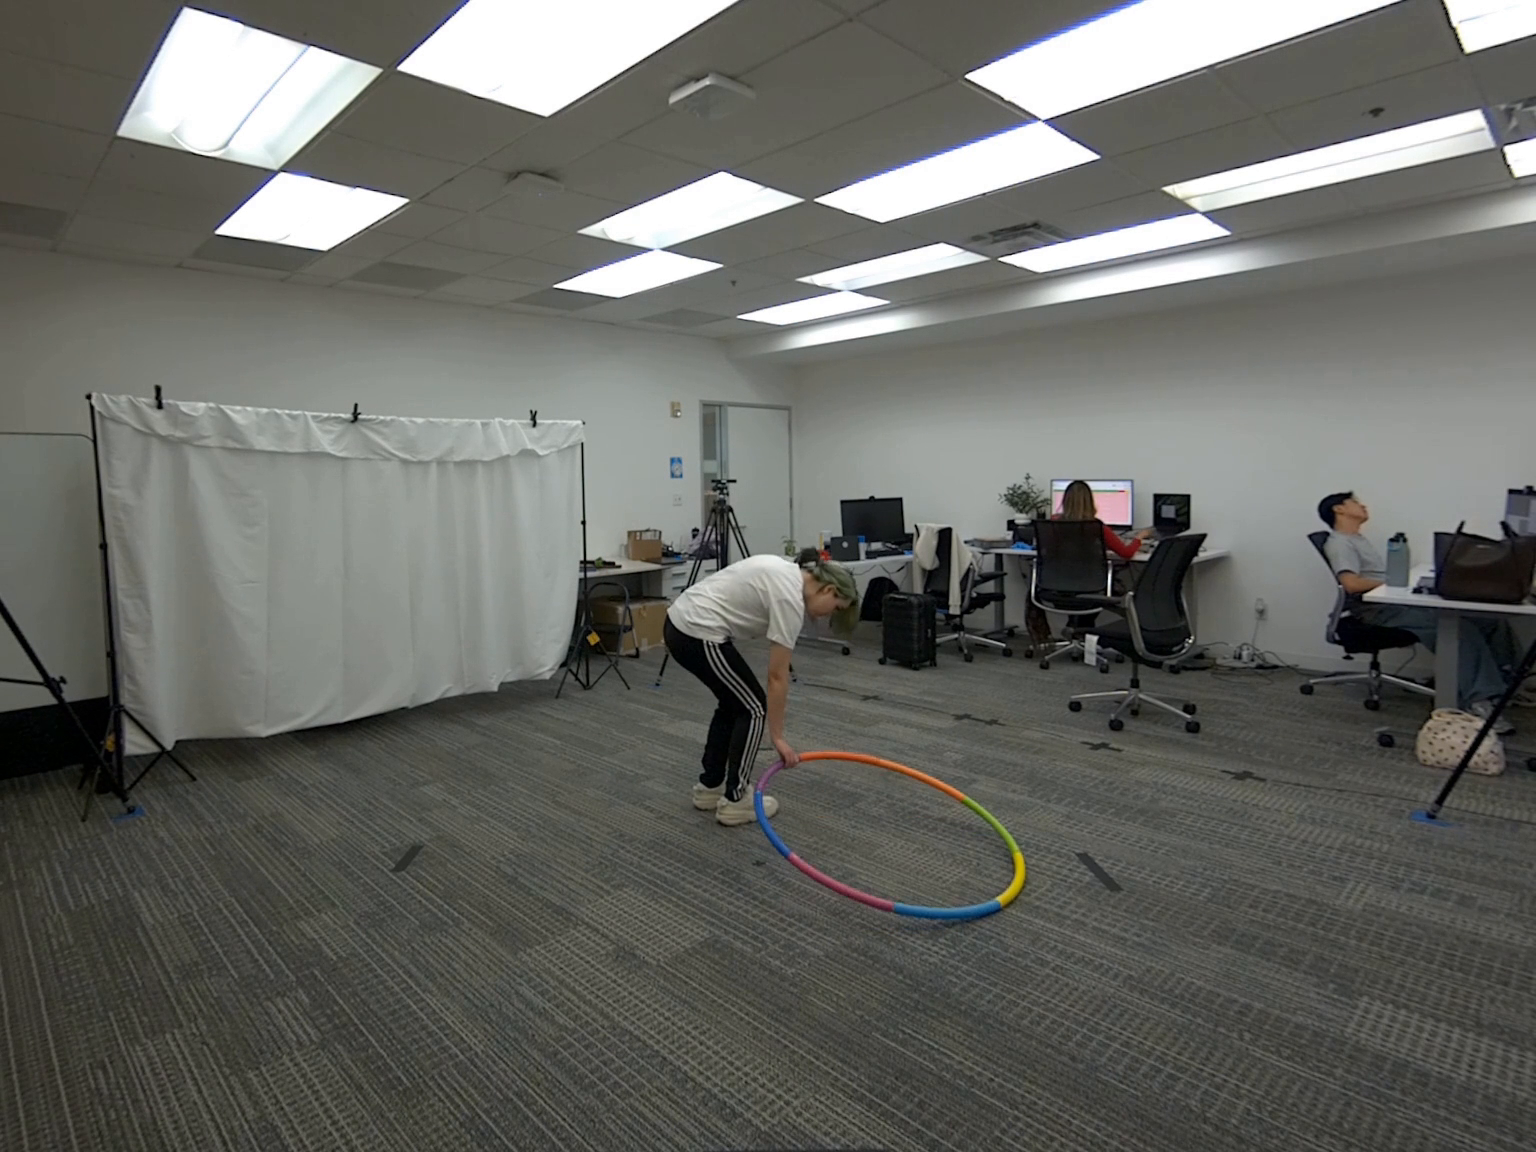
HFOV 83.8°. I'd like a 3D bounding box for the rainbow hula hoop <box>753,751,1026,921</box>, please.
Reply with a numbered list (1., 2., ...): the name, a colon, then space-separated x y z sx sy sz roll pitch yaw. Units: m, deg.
1. rainbow hula hoop: 0.426 0.890 3.112 0.975 0.035 0.992 9 15 -4
